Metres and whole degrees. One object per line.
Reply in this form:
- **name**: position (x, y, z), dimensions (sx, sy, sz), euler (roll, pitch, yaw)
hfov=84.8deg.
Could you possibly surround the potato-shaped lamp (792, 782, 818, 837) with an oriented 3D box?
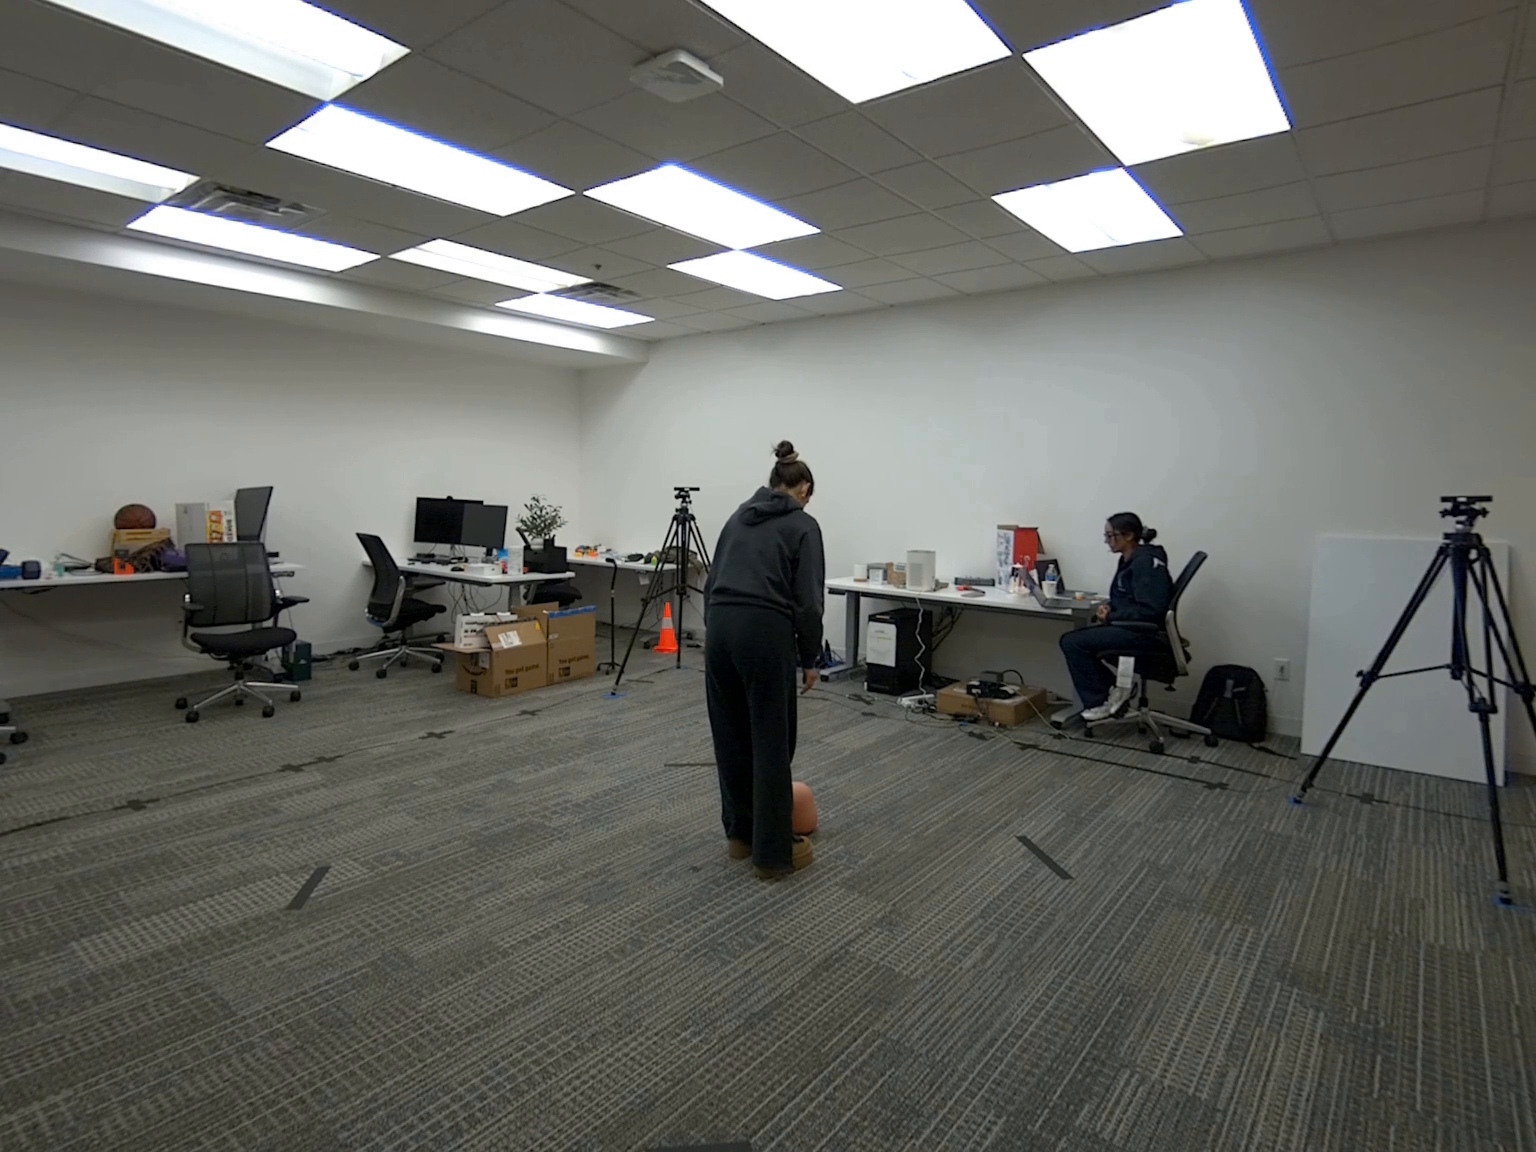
- **potato-shaped lamp**: position (0.120, 0.935, 3.475), dimensions (0.169, 0.197, 0.167), euler (0, 4, 28)
